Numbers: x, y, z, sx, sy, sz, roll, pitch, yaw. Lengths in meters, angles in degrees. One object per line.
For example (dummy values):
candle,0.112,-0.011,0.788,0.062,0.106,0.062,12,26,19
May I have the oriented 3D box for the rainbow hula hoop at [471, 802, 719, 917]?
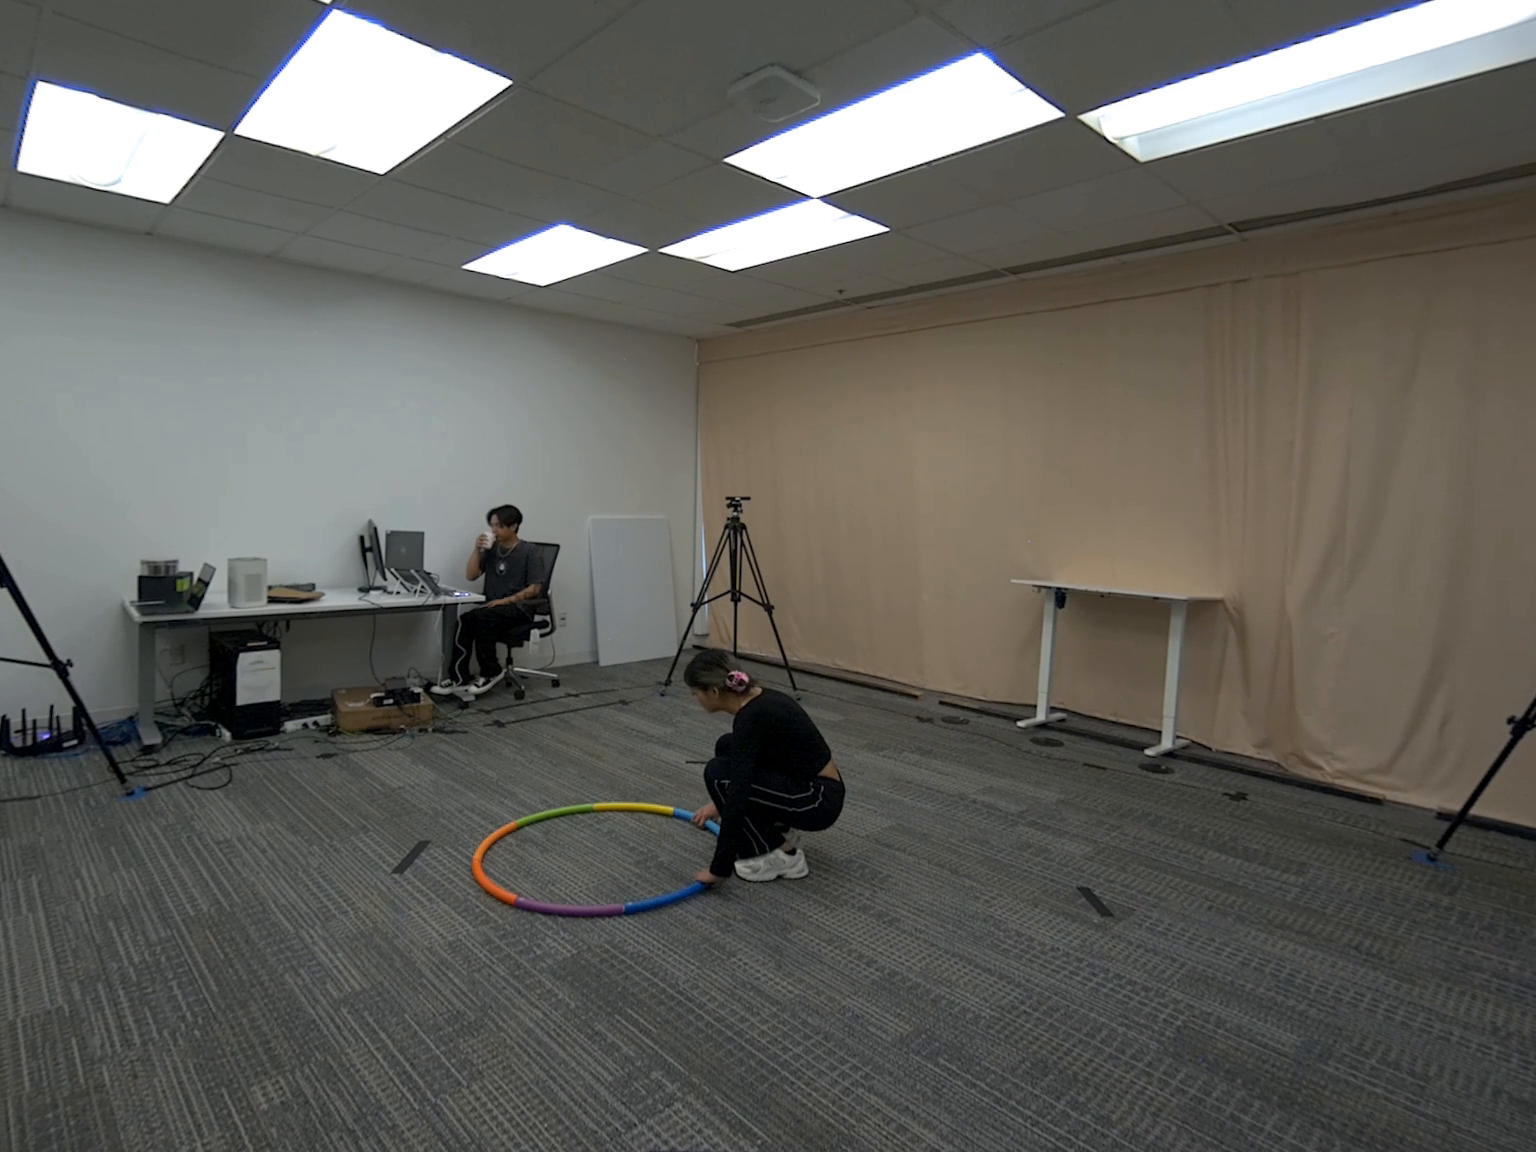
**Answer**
rainbow hula hoop,-0.625,1.044,3.252,0.978,0.035,0.982,1,5,-1
